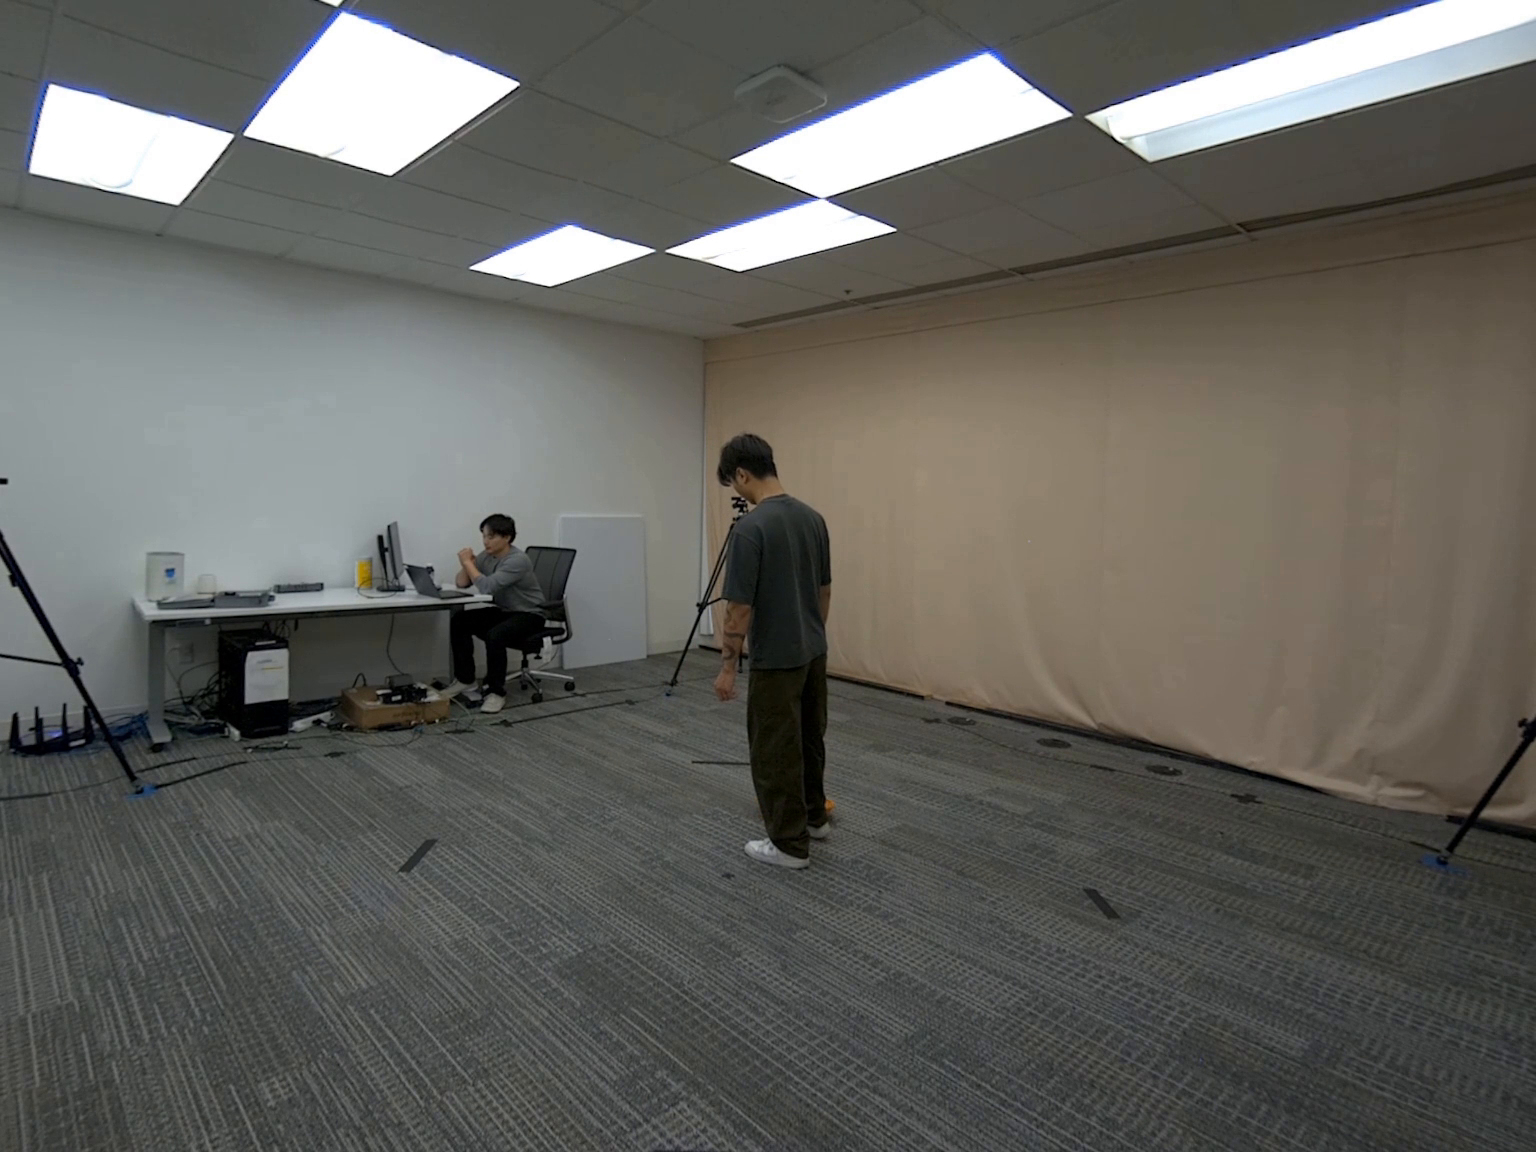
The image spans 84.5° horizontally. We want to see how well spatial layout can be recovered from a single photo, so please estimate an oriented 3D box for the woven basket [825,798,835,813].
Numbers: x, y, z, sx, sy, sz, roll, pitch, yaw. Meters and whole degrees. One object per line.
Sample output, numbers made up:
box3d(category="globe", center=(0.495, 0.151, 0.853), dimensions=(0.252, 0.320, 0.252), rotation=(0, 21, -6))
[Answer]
box3d(category="woven basket", center=(0.115, 1.021, 3.731), dimensions=(0.358, 0.073, 0.247), rotation=(4, 2, 28))
